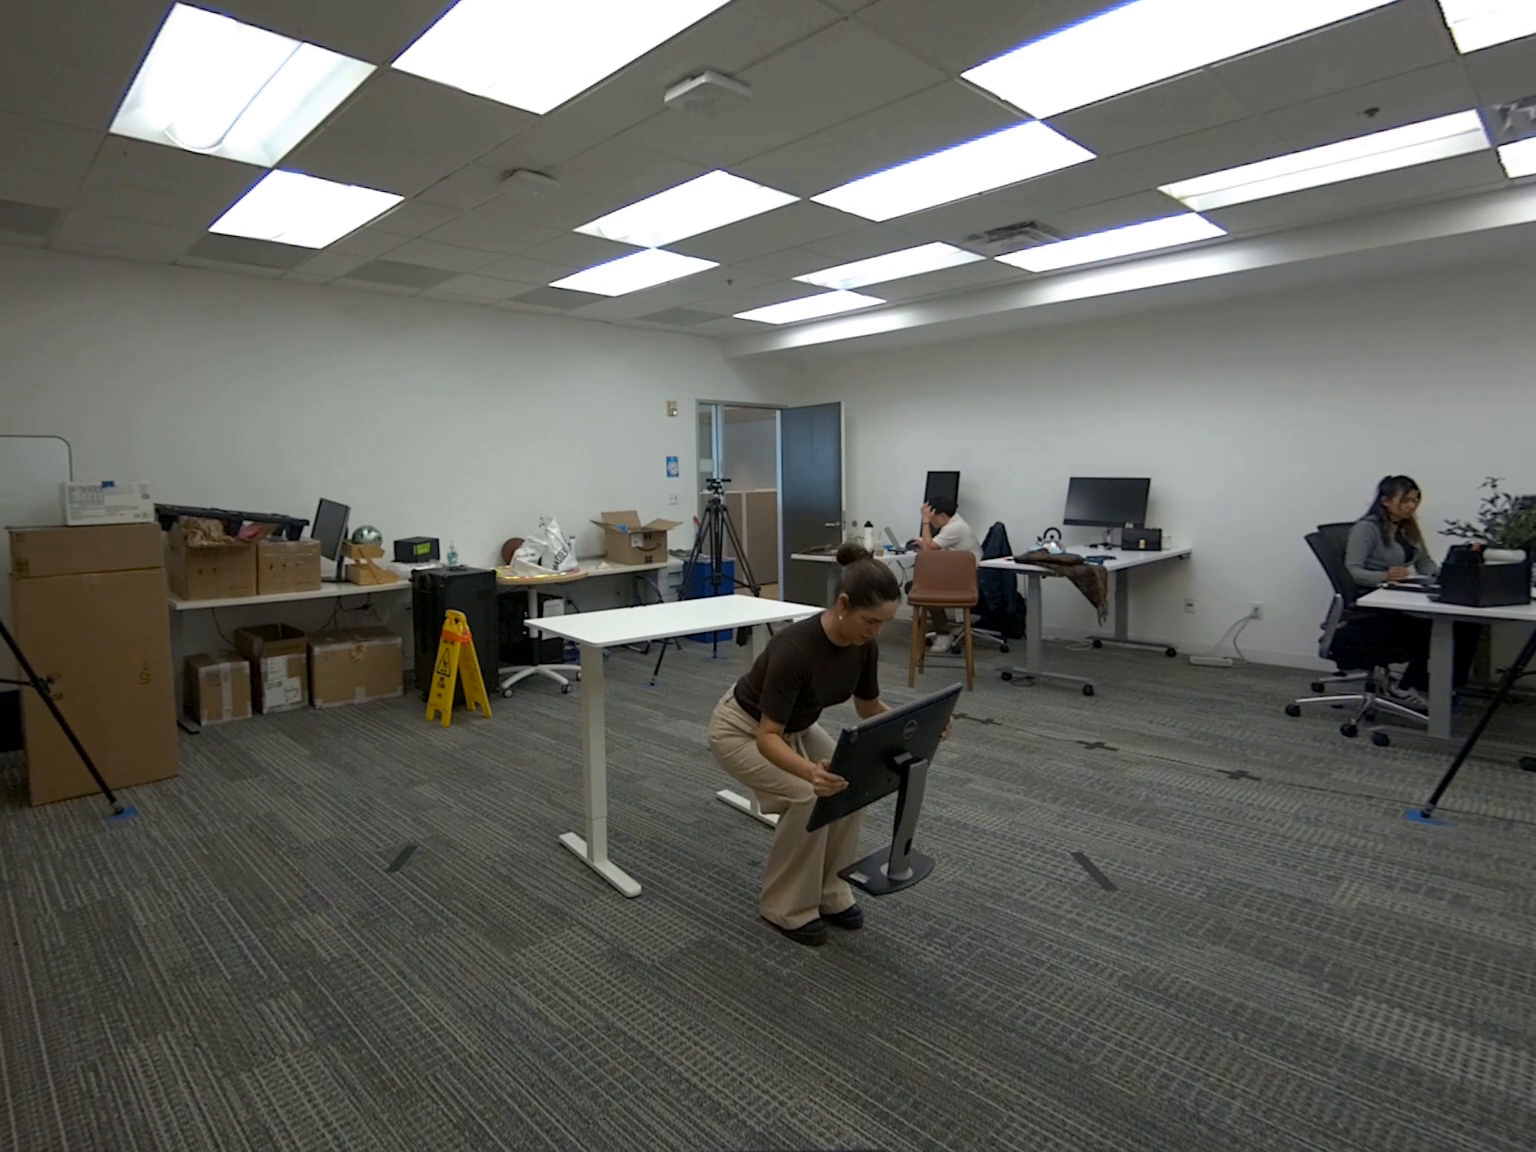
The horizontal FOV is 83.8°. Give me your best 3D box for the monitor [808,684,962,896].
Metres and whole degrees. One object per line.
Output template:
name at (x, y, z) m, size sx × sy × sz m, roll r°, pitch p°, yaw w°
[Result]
monitor at (0.367, 0.609, 2.408) m, size 0.526 × 0.517 × 0.193 m, roll -9°, pitch 16°, yaw -43°
